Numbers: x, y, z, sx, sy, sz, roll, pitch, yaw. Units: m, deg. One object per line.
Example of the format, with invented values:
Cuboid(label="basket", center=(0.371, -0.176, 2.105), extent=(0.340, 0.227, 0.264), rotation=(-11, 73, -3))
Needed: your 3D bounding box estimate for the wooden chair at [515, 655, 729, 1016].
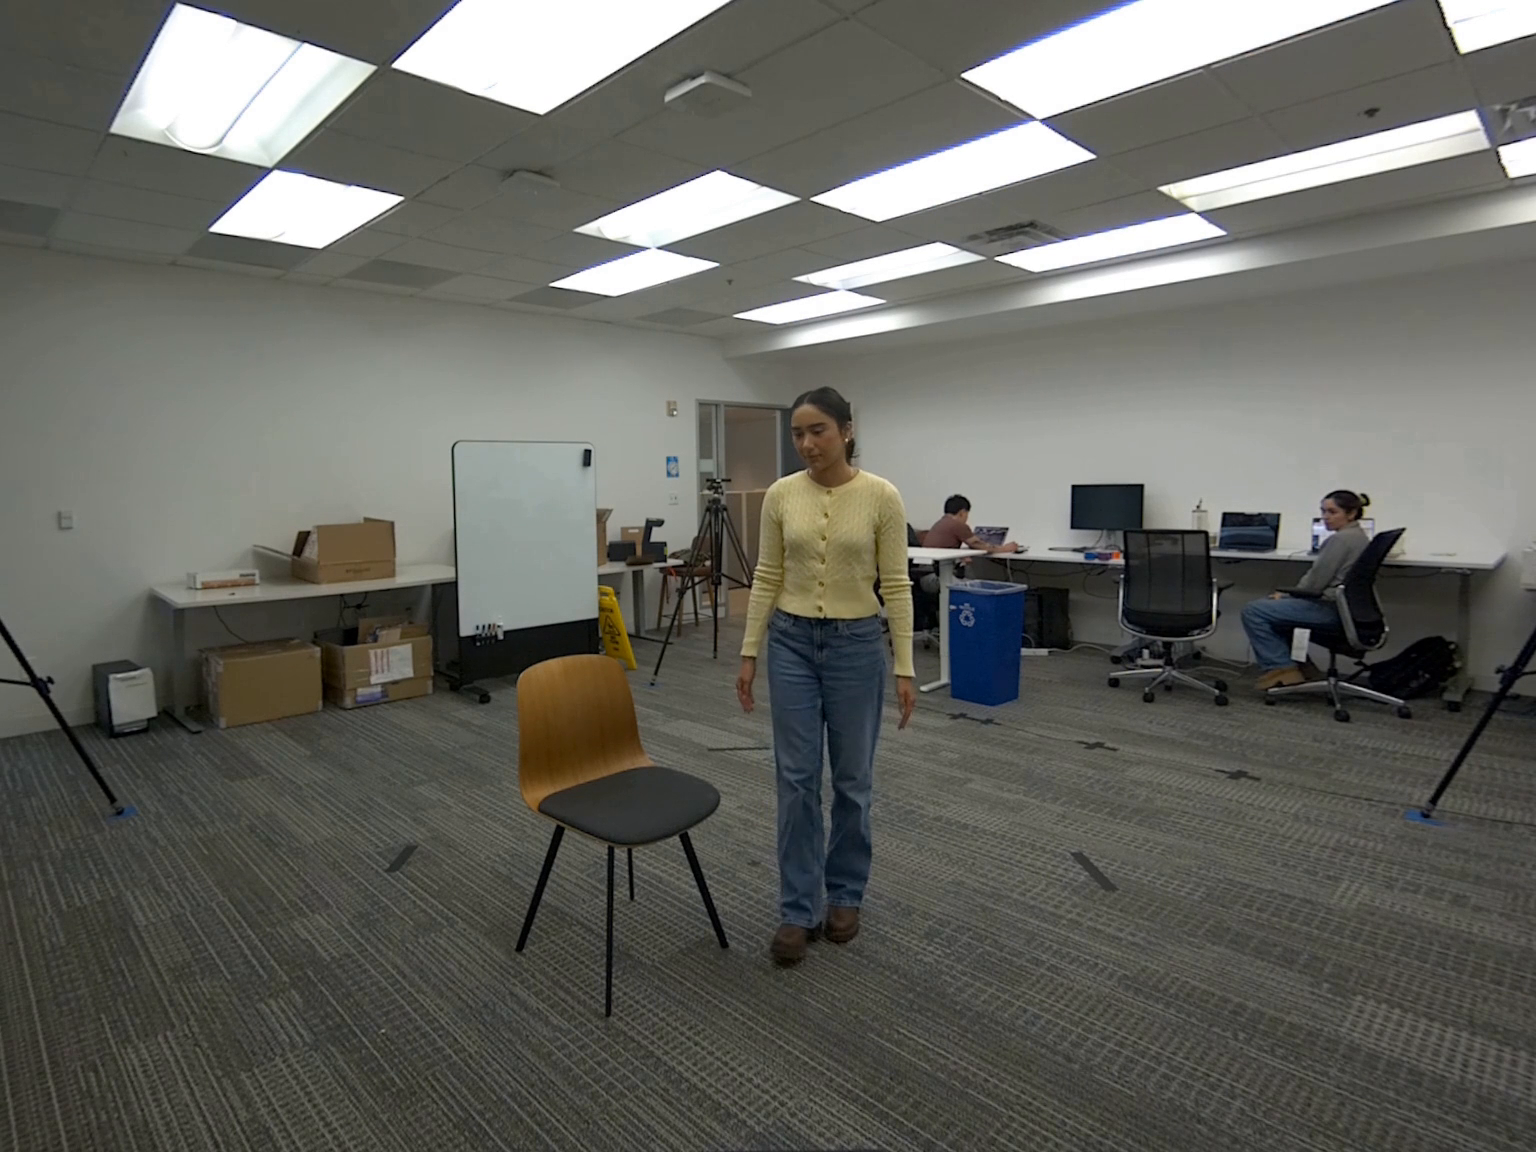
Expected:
Cuboid(label="wooden chair", center=(-0.431, 0.690, 2.511), extent=(0.538, 0.876, 0.465), rotation=(-2, 2, 44))
